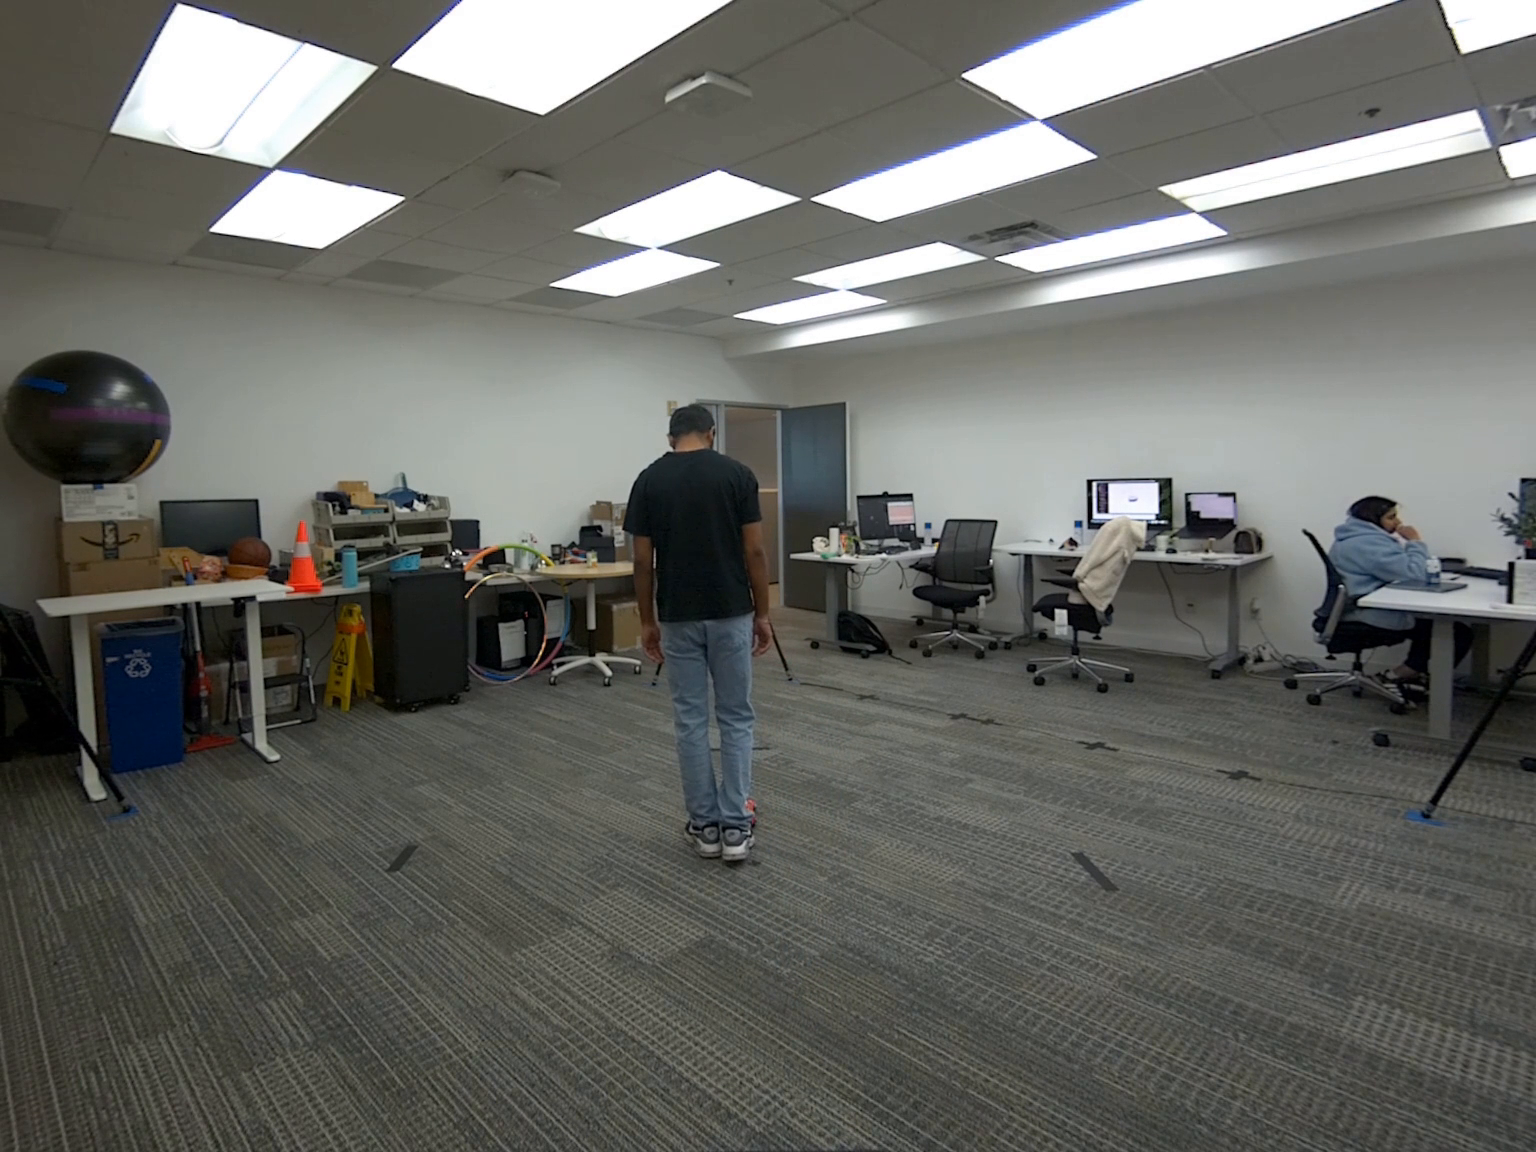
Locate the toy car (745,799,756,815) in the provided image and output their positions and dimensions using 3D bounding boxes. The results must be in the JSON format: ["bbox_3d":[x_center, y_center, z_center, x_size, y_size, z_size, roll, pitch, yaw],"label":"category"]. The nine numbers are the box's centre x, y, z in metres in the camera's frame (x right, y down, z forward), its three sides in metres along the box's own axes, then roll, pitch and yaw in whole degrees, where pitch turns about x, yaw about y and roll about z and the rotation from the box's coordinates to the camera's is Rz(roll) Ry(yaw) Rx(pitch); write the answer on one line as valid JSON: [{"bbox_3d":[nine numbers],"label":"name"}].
[{"bbox_3d":[-0.101,0.968,3.495,0.130,0.084,0.253,0,-5,-1],"label":"toy car"}]
